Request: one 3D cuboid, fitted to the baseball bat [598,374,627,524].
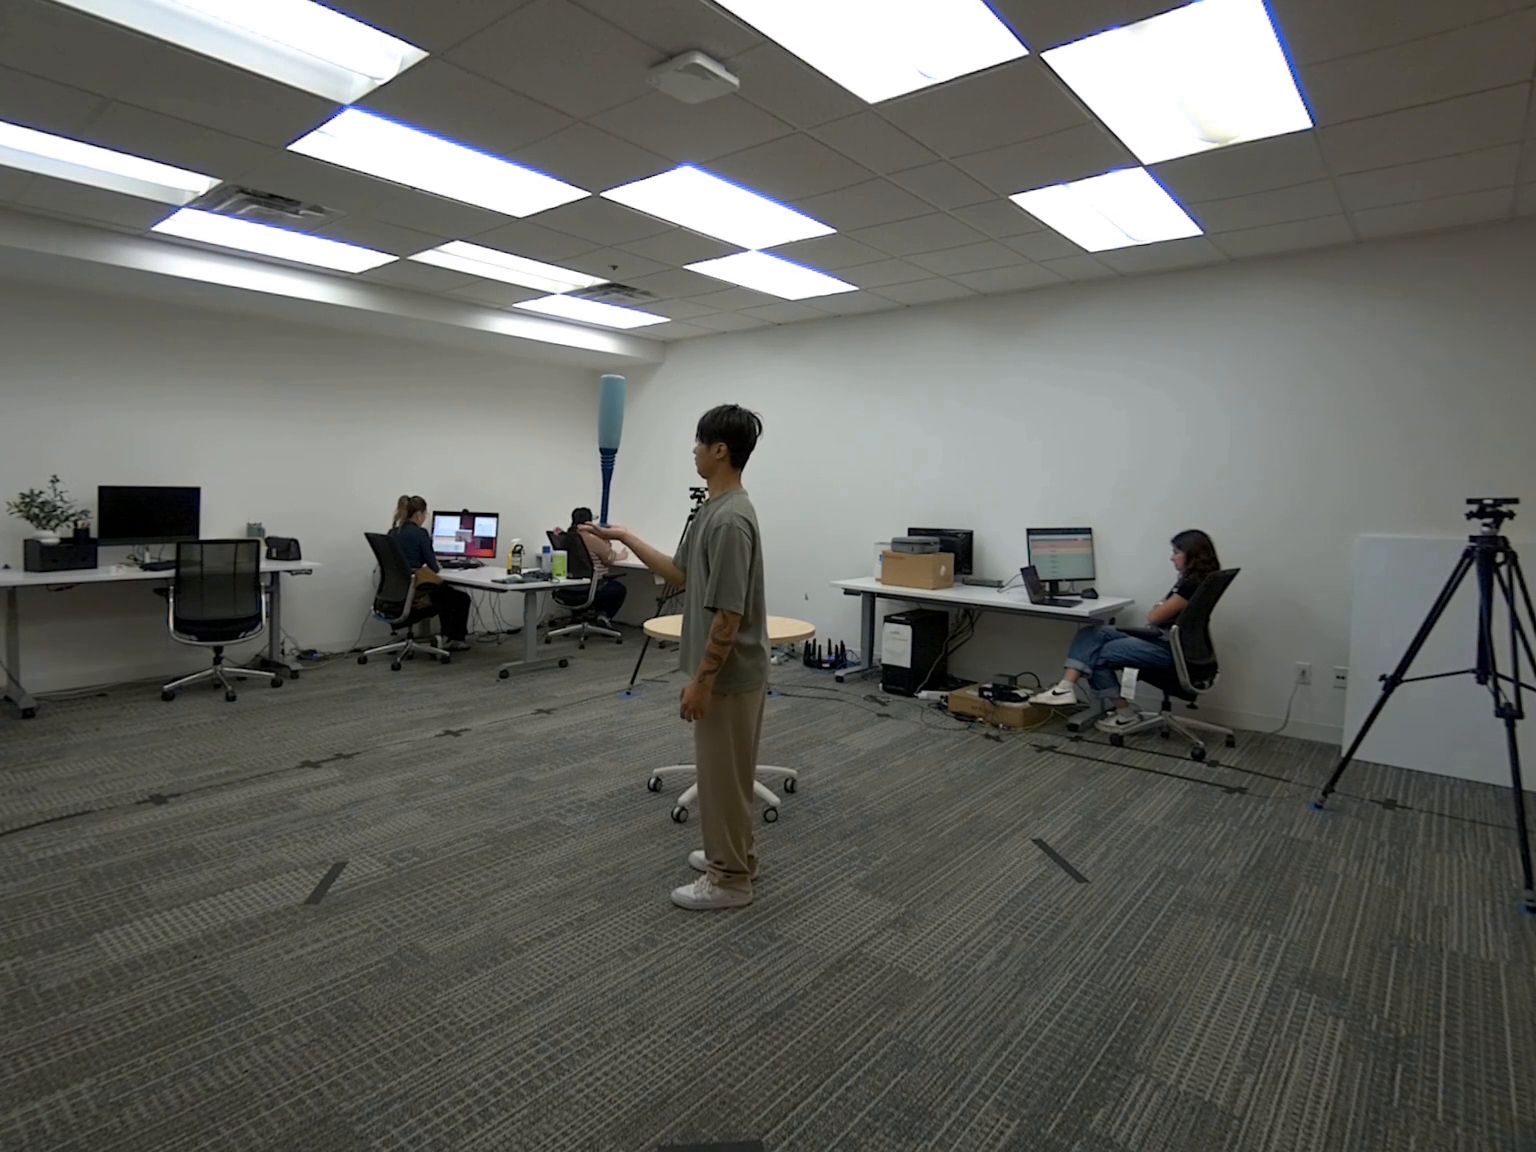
[{"bbox_3d":[-0.568,-0.429,2.957,0.089,0.540,0.090,4,6,-2],"label":"baseball bat"}]
